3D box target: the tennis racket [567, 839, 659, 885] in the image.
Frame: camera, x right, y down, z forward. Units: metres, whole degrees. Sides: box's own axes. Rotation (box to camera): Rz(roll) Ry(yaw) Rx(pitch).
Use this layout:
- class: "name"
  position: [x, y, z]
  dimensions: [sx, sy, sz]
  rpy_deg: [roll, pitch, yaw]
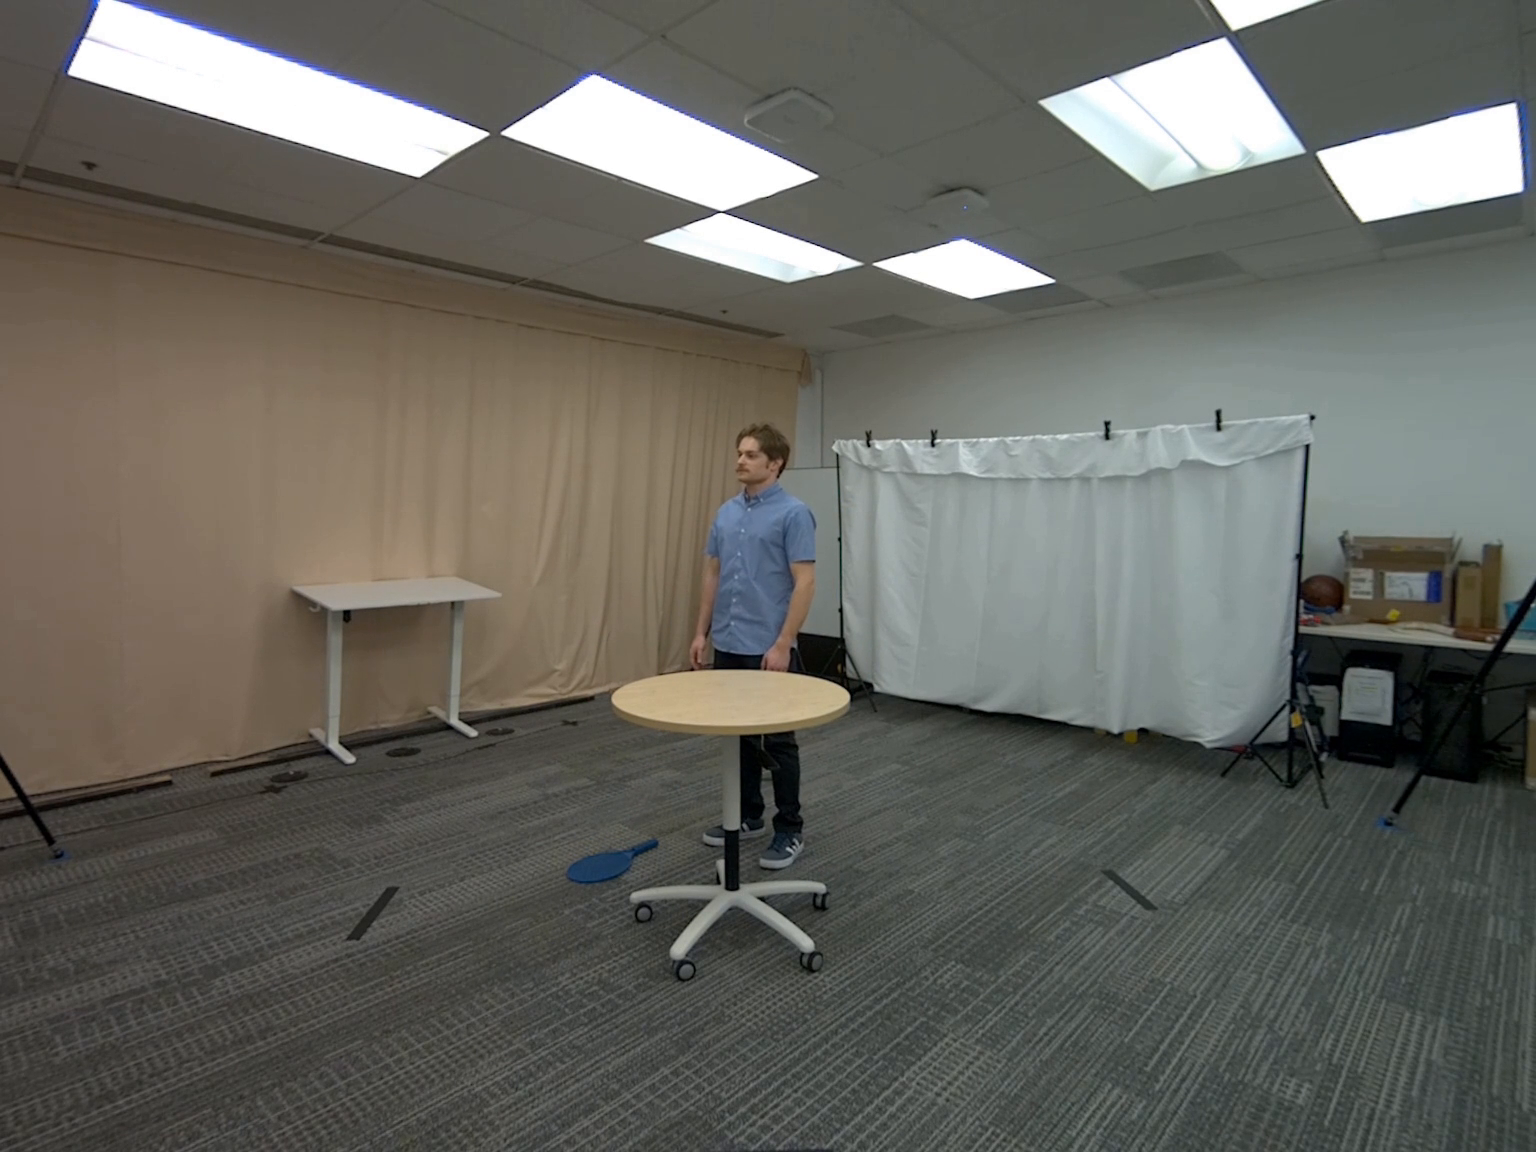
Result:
- class: "tennis racket"
  position: [-0.596, 1.110, 3.292]
  dimensions: [0.221, 0.031, 0.420]
  rpy_deg: [2, 7, 40]
